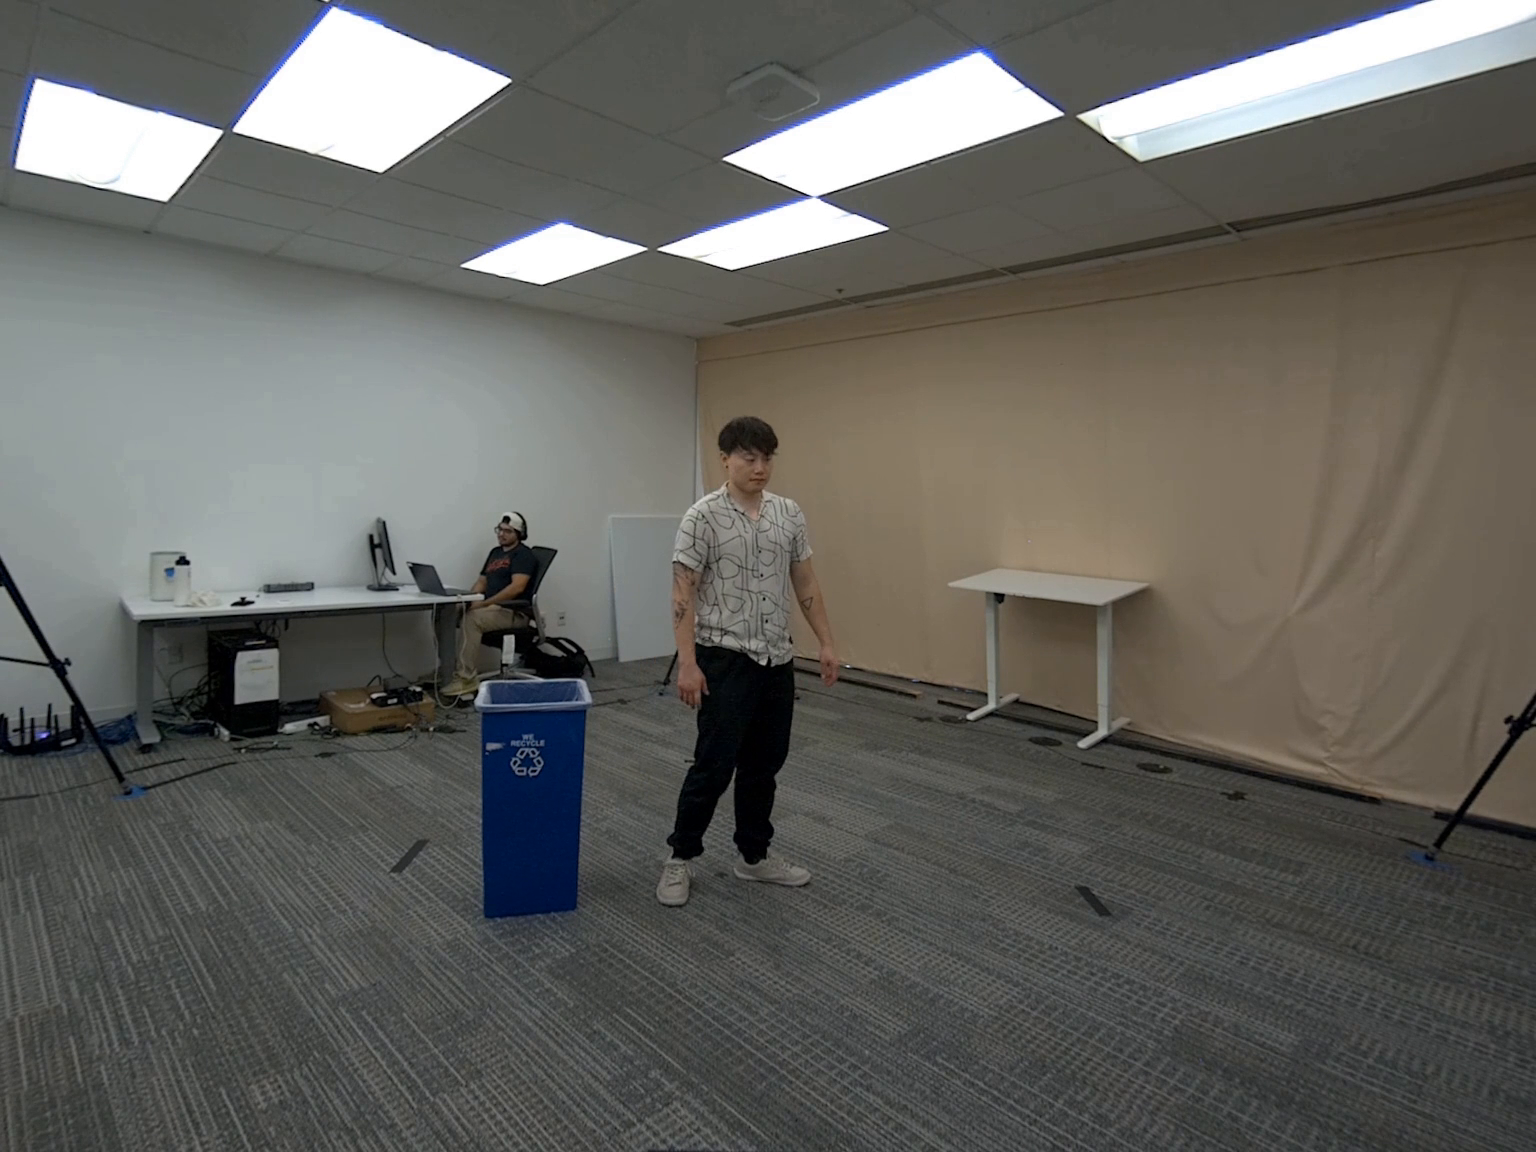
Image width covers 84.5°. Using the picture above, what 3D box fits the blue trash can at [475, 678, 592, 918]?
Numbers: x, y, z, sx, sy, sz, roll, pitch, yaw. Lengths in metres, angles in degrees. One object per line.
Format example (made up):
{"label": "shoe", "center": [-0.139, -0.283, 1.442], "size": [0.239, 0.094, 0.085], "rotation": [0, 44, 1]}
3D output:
{"label": "blue trash can", "center": [-0.814, 0.751, 2.907], "size": [0.369, 0.712, 0.384], "rotation": [0, 4, -16]}
